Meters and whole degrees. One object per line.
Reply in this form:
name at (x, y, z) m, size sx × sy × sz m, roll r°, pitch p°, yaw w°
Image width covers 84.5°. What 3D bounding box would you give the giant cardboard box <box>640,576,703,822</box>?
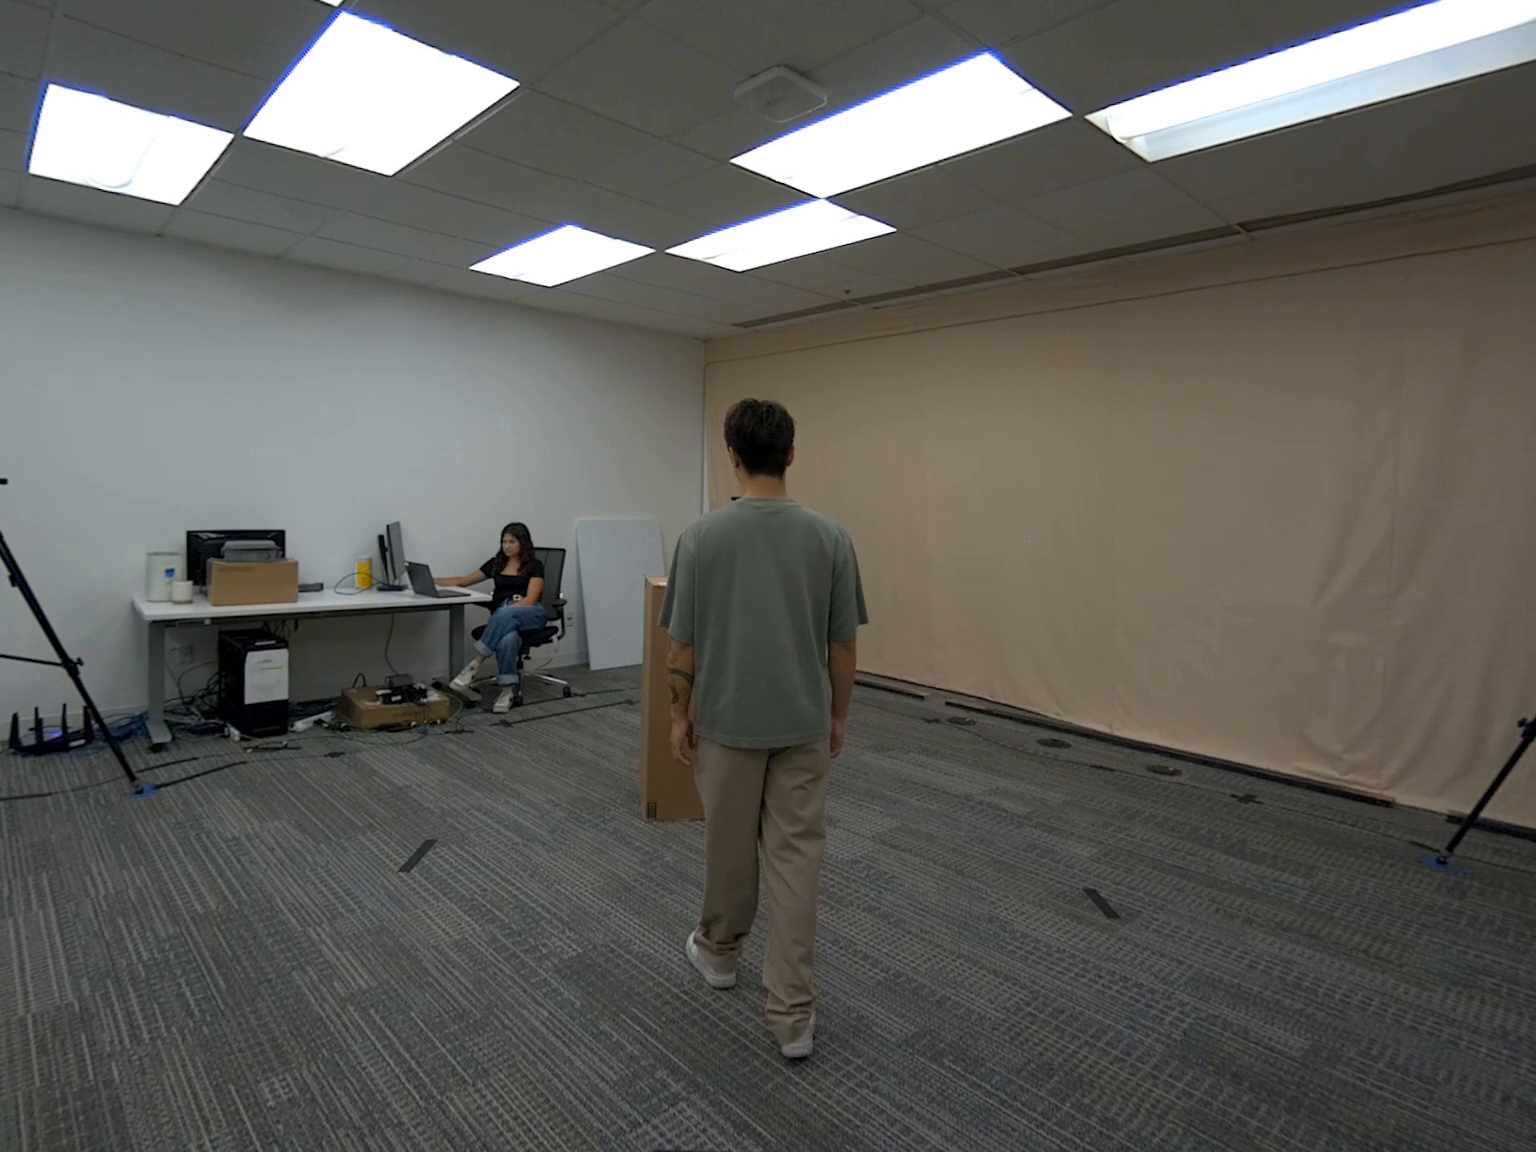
giant cardboard box at (-0.283, 0.536, 3.848) m, size 0.572 × 1.025 × 0.430 m, roll 1°, pitch 1°, yaw -12°
